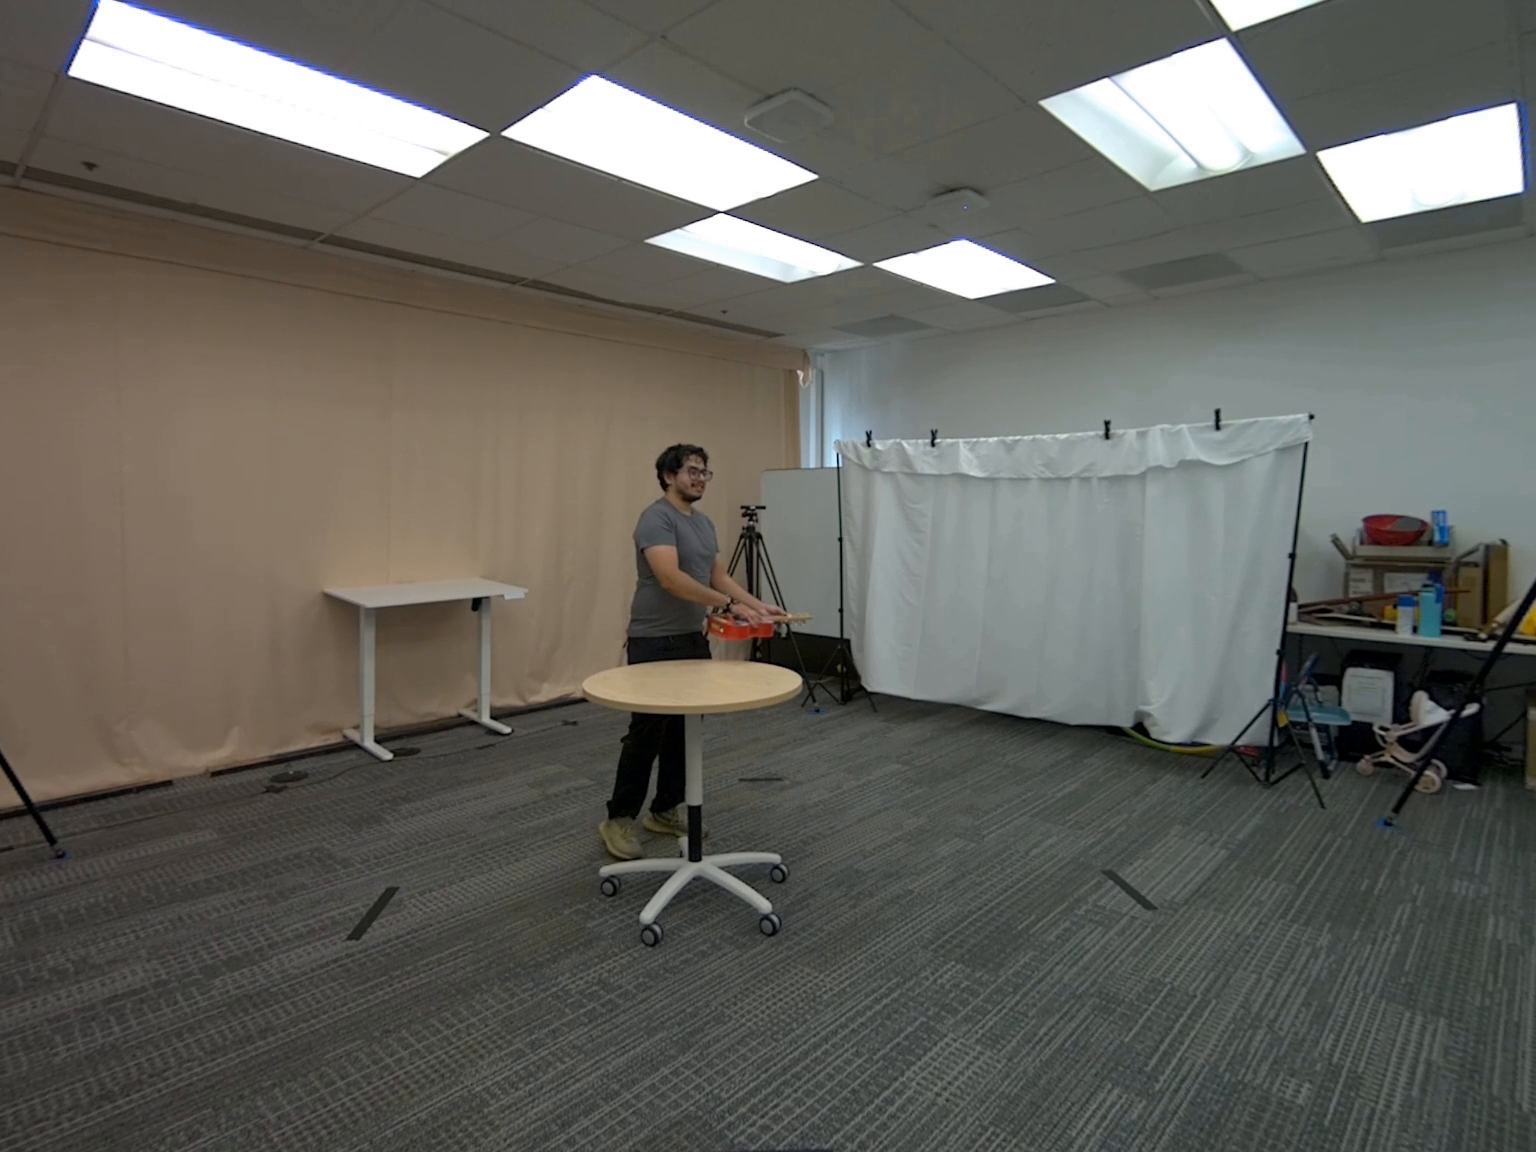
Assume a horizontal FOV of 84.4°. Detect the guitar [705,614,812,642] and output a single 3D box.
[{"bbox_3d":[0.008,0.207,3.380,0.487,0.070,0.198,1,11,-22],"label":"guitar"}]
